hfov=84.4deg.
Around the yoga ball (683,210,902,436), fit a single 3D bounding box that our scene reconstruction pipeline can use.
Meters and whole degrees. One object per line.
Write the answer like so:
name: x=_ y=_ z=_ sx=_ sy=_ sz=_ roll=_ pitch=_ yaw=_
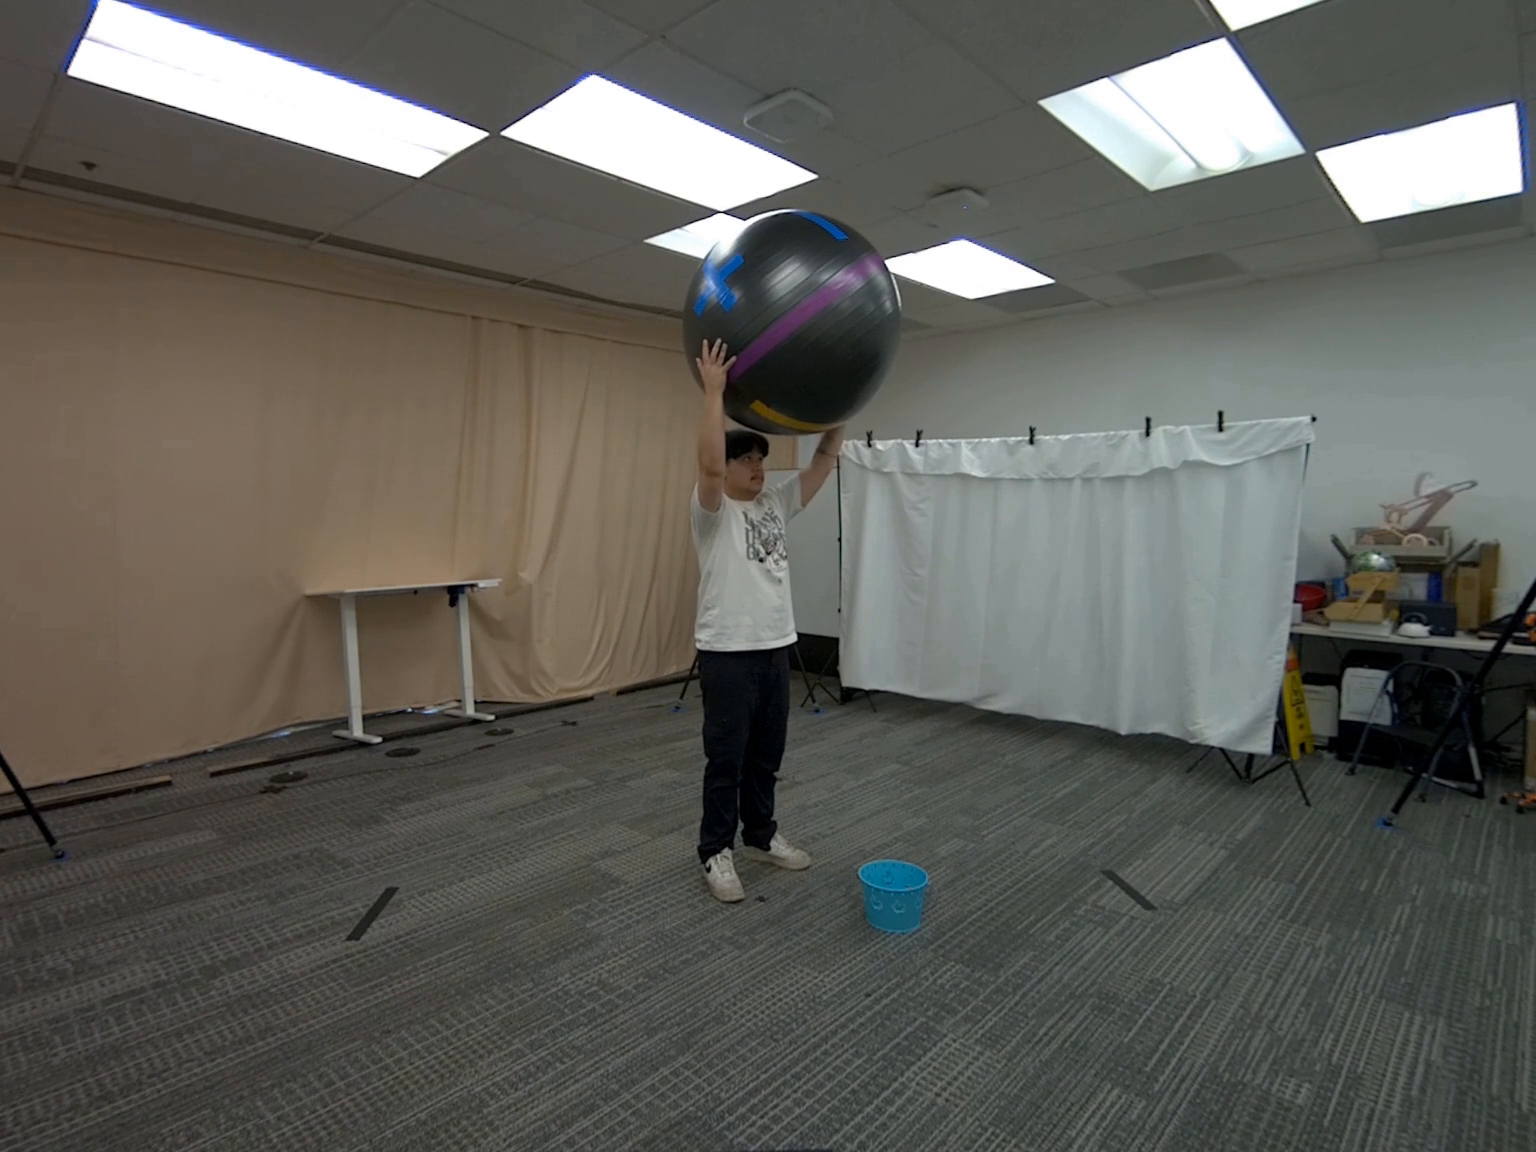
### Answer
yoga ball: x=0.081 y=-0.867 z=2.937 sx=0.757 sy=0.756 sz=0.760 roll=0 pitch=4 yaw=-2
